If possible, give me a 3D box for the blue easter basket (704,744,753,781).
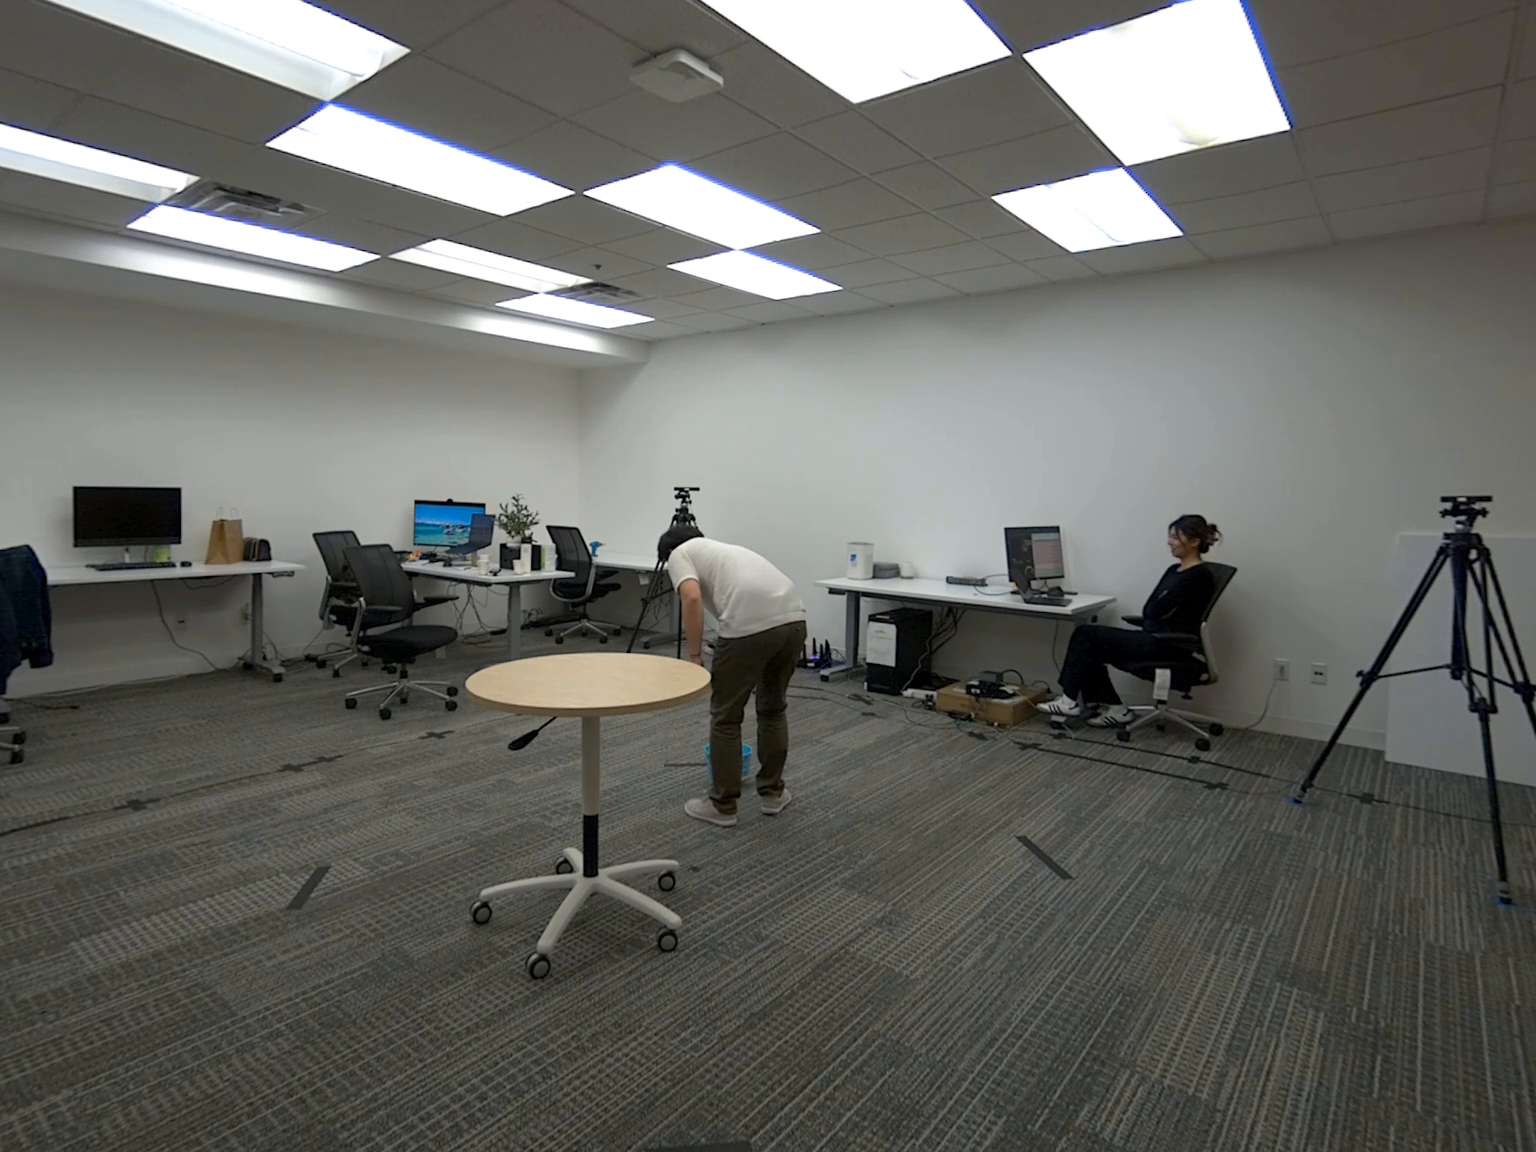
[{"bbox_3d":[-0.200,0.889,4.043,0.243,0.155,0.244,1,4,-2],"label":"blue easter basket"}]
